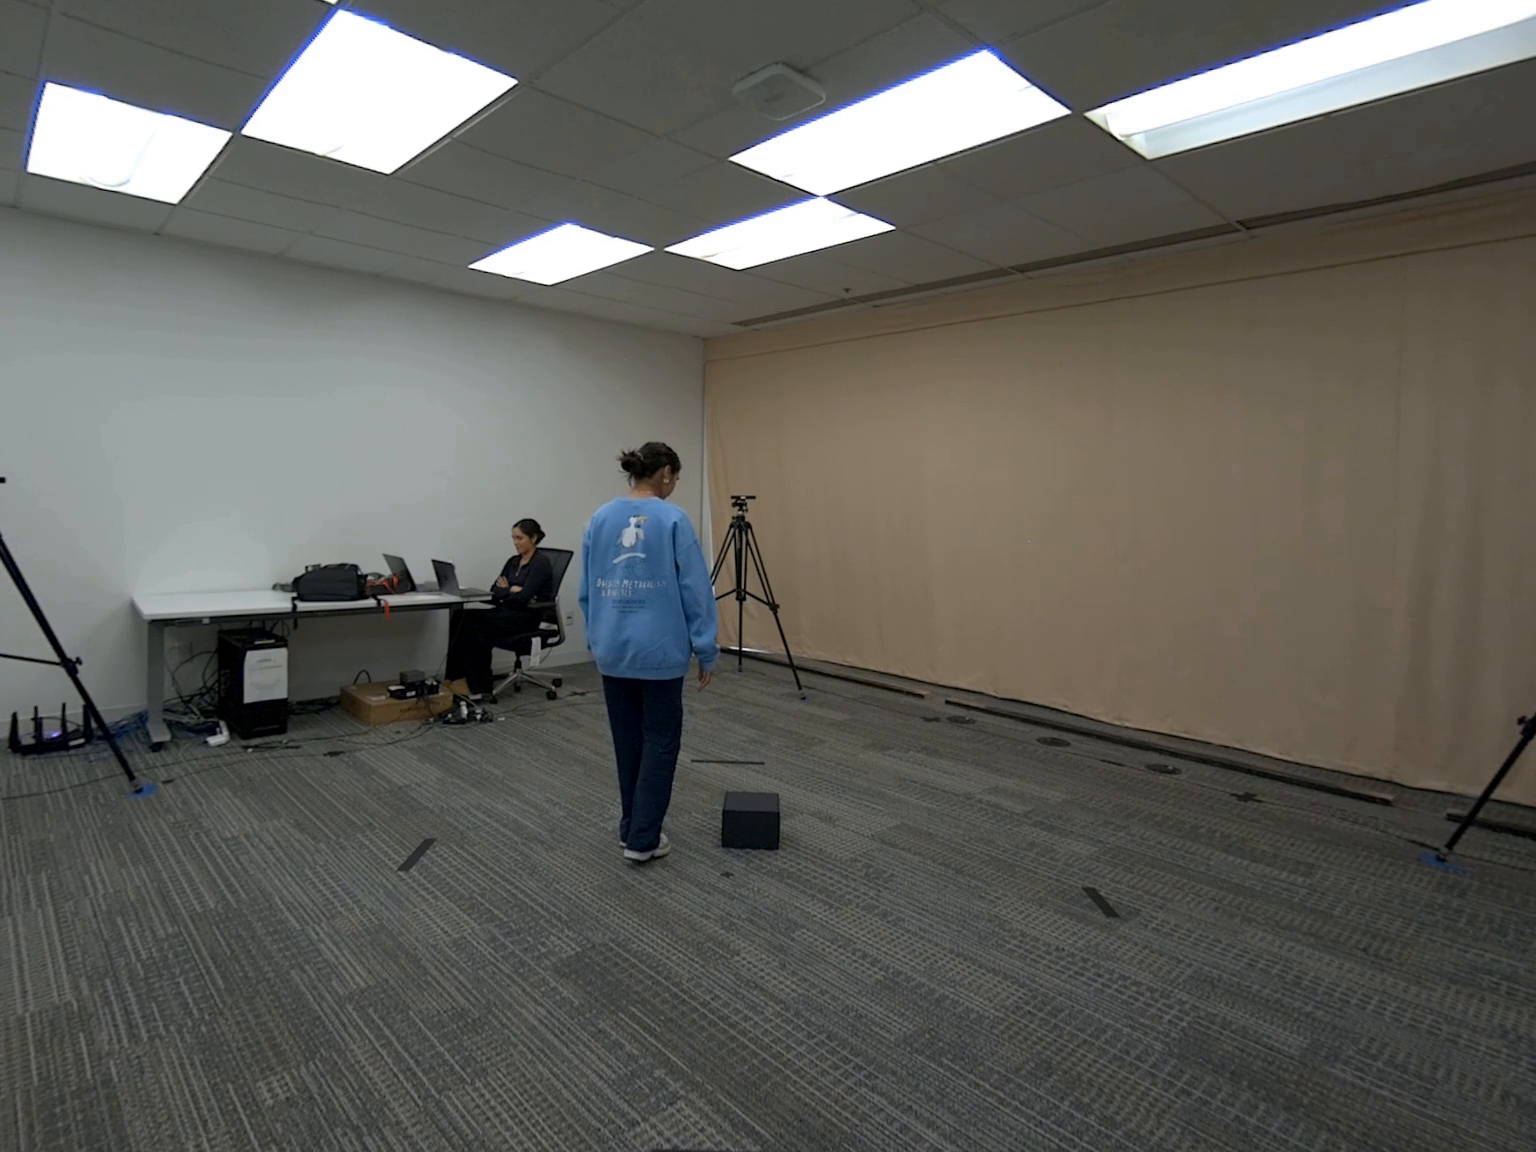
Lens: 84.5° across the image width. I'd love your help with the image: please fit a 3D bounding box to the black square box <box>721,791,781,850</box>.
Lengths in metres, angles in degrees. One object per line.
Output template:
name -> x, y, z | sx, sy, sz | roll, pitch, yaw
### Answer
black square box -> -0.074, 0.987, 3.435 | 0.228, 0.155, 0.217 | 2, 4, 1
